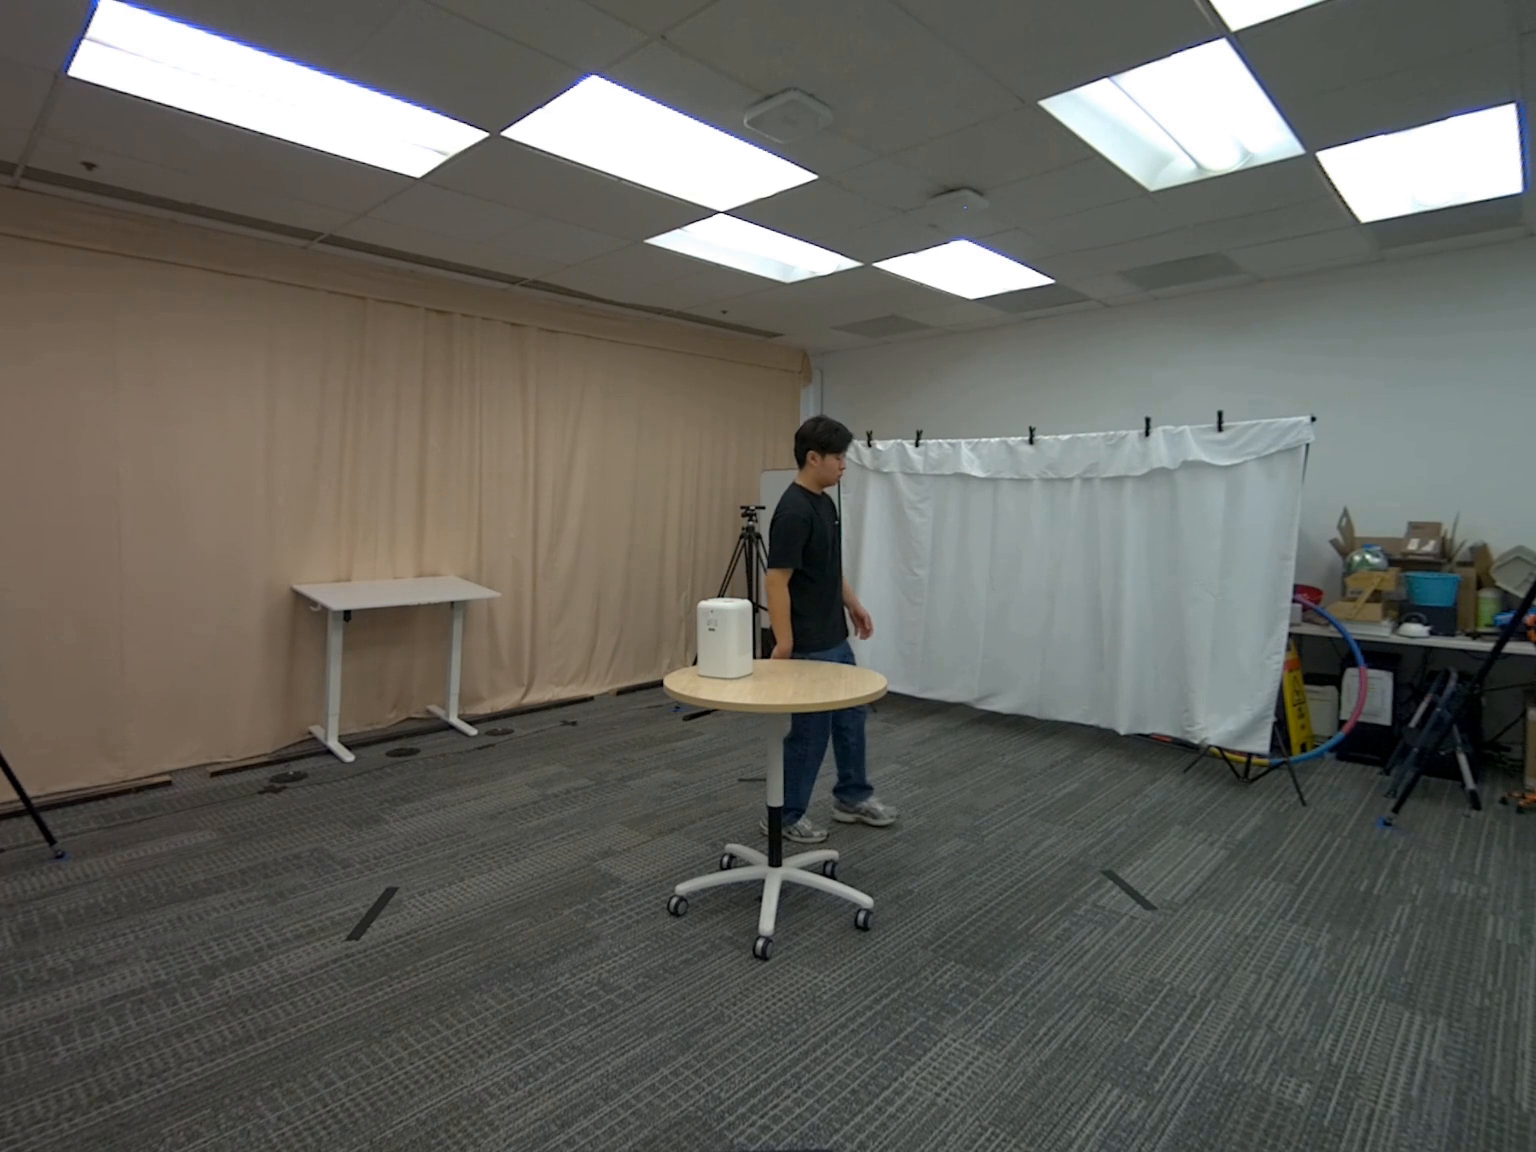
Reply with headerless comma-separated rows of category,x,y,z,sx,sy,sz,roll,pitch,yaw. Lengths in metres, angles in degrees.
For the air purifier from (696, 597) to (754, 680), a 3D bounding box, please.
air purifier,-0.148,0.216,2.990,0.176,0.265,0.167,1,2,30
